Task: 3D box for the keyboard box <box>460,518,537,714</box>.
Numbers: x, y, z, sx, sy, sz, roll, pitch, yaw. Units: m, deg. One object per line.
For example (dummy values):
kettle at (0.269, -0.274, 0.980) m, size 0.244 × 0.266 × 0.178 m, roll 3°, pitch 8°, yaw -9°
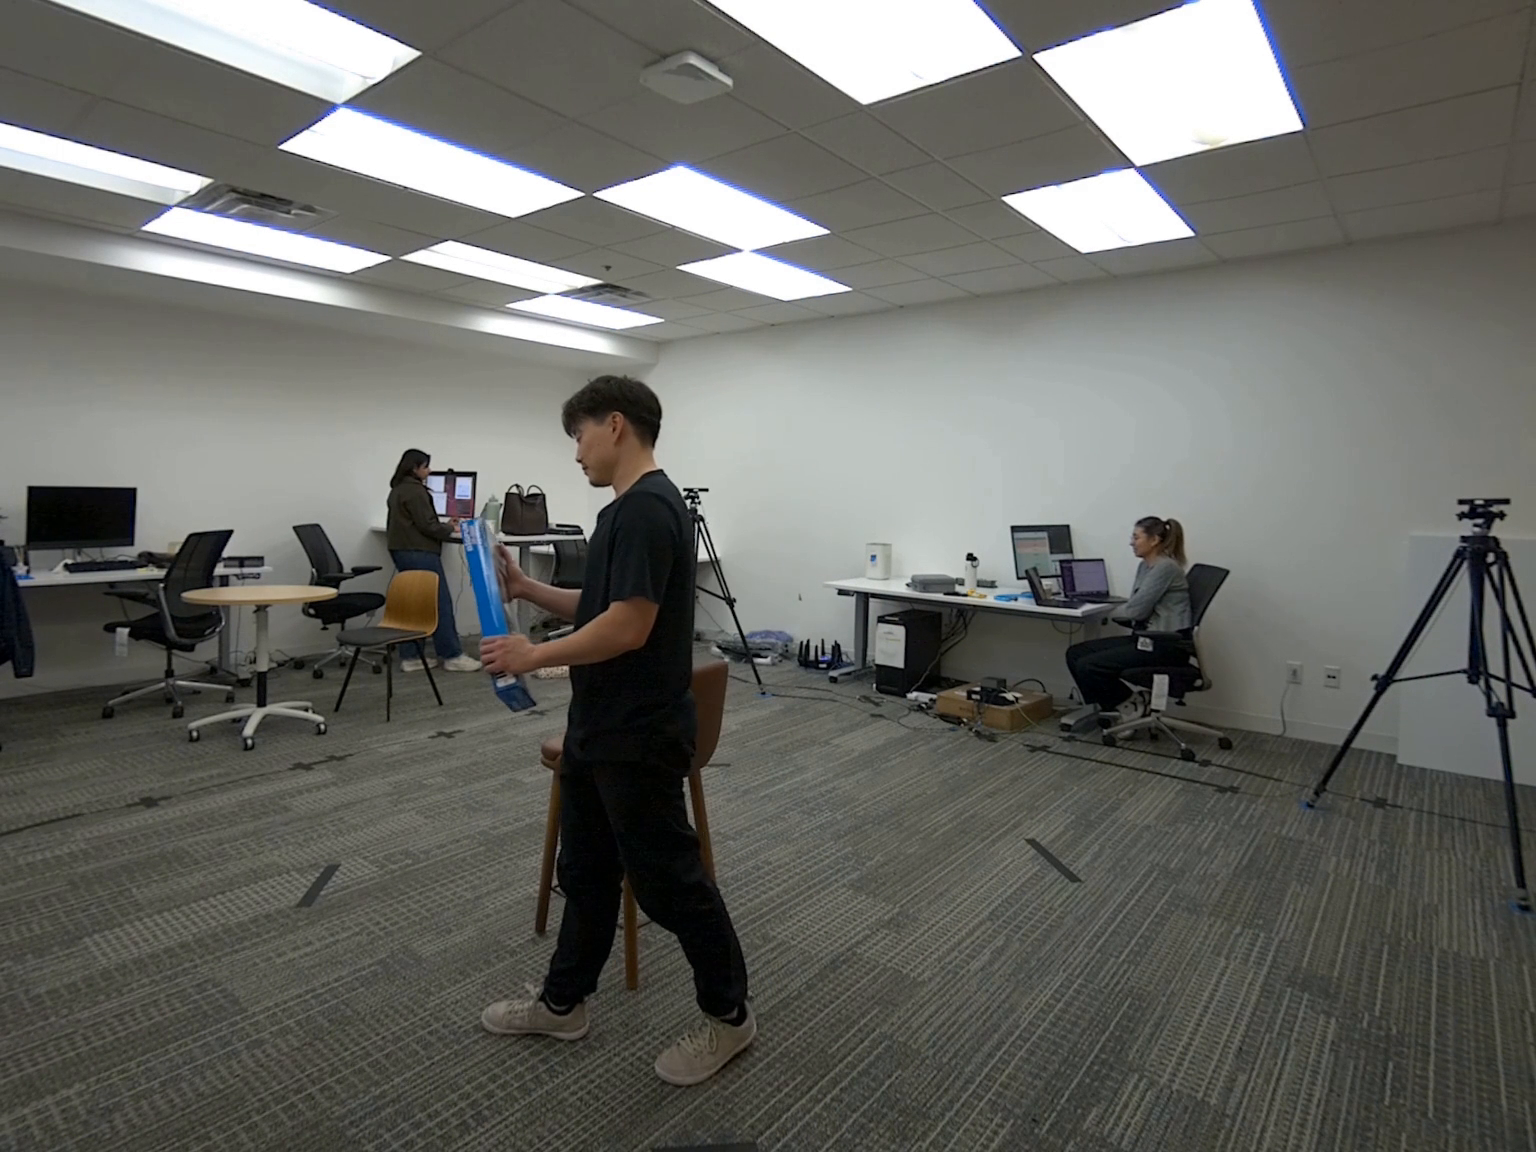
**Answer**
keyboard box at (-0.645, 0.090, 2.014) m, size 0.059 × 0.449 × 0.172 m, roll -17°, pitch -24°, yaw -9°
